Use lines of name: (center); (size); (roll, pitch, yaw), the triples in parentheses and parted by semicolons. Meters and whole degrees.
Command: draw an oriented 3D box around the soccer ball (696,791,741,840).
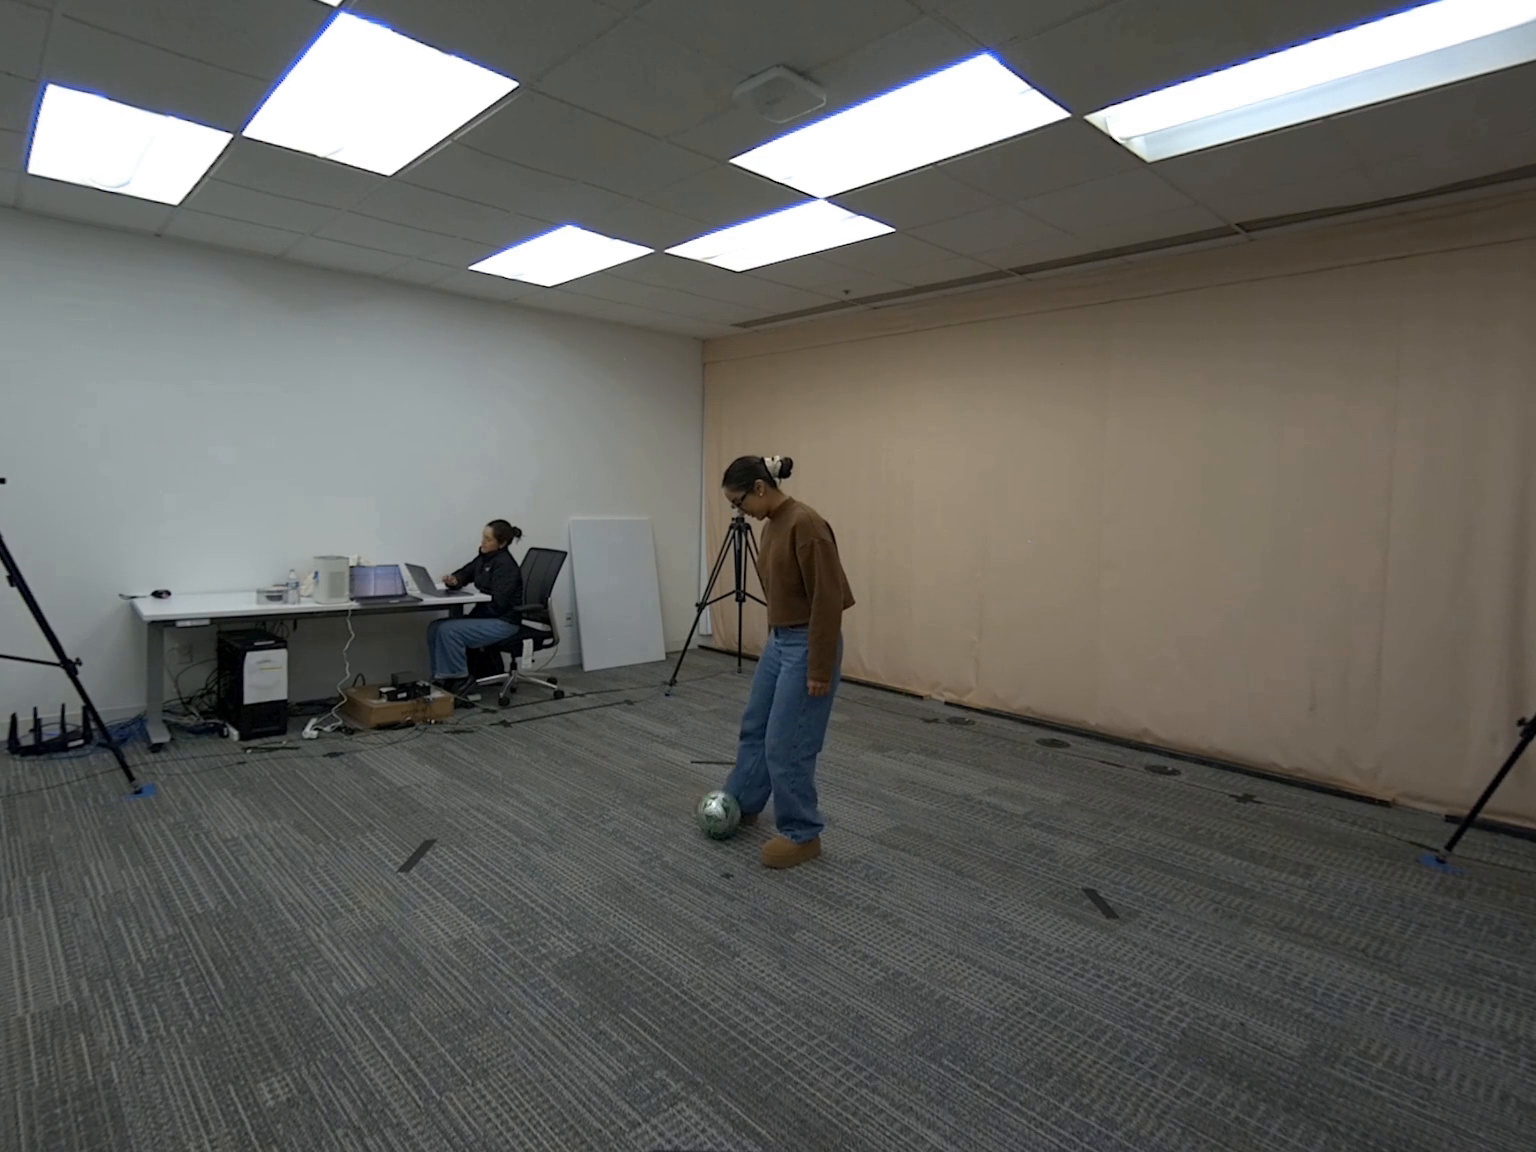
soccer ball: (-0.210, 0.981, 3.446); (0.187, 0.187, 0.188); (1, 4, -1)
